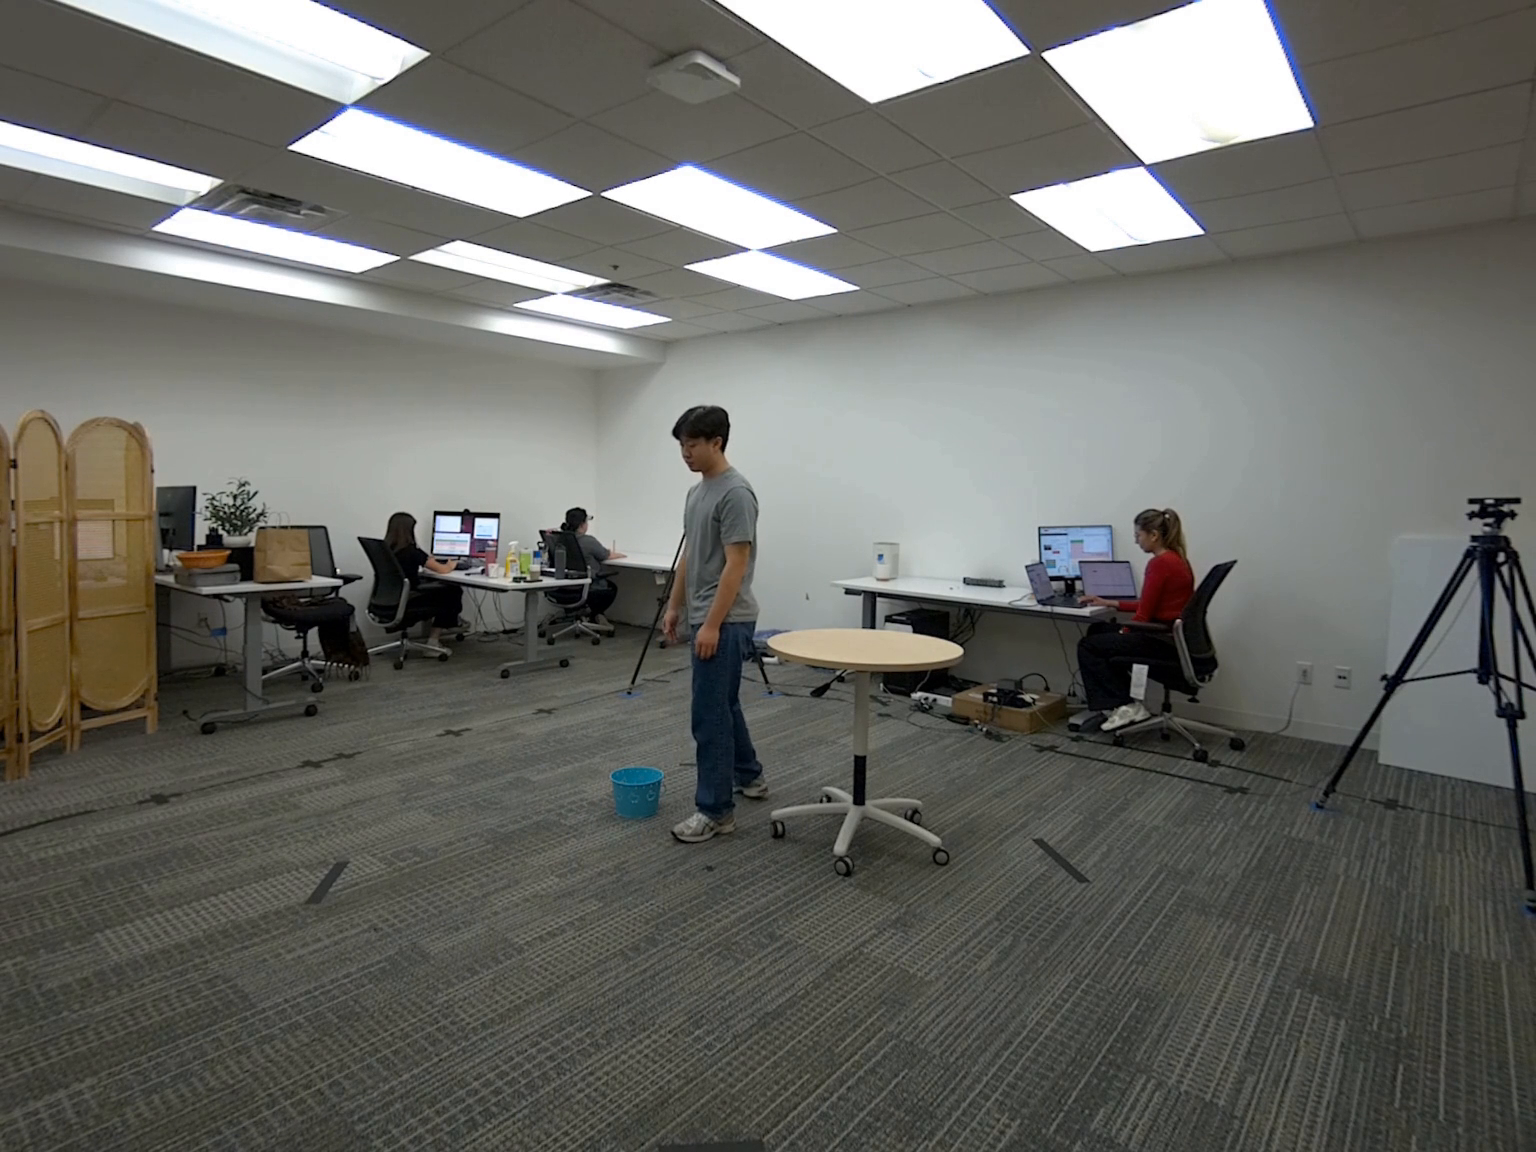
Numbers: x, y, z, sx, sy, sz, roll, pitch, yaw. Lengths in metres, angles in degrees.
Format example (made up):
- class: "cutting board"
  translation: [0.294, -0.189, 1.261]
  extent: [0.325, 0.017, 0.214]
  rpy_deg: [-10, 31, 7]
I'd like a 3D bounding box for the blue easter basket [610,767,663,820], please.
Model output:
- class: "blue easter basket"
  translation: [-0.571, 0.928, 3.665]
  extent: [0.243, 0.155, 0.245]
  rpy_deg: [0, 6, -2]
